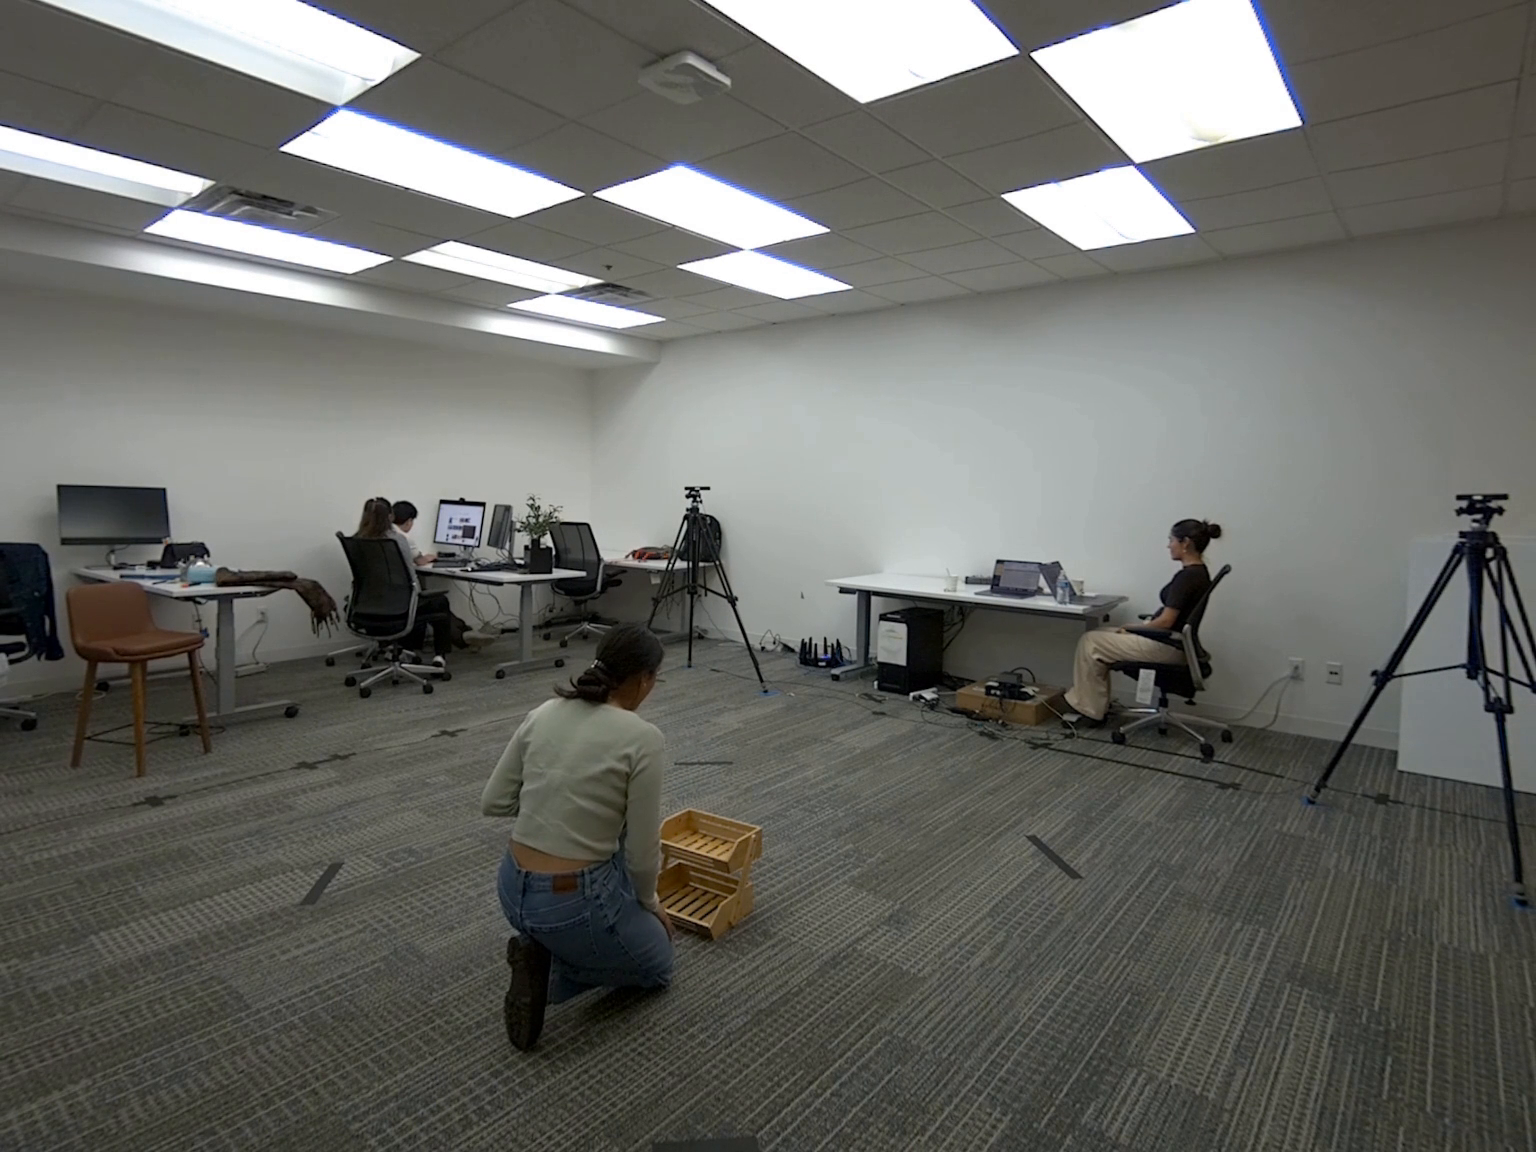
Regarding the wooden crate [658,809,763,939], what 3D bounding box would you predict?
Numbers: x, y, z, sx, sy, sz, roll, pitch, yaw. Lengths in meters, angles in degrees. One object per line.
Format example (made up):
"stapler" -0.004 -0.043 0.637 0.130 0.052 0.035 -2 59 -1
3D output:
"wooden crate" -0.235 0.961 2.792 0.334 0.272 0.294 4 4 31
